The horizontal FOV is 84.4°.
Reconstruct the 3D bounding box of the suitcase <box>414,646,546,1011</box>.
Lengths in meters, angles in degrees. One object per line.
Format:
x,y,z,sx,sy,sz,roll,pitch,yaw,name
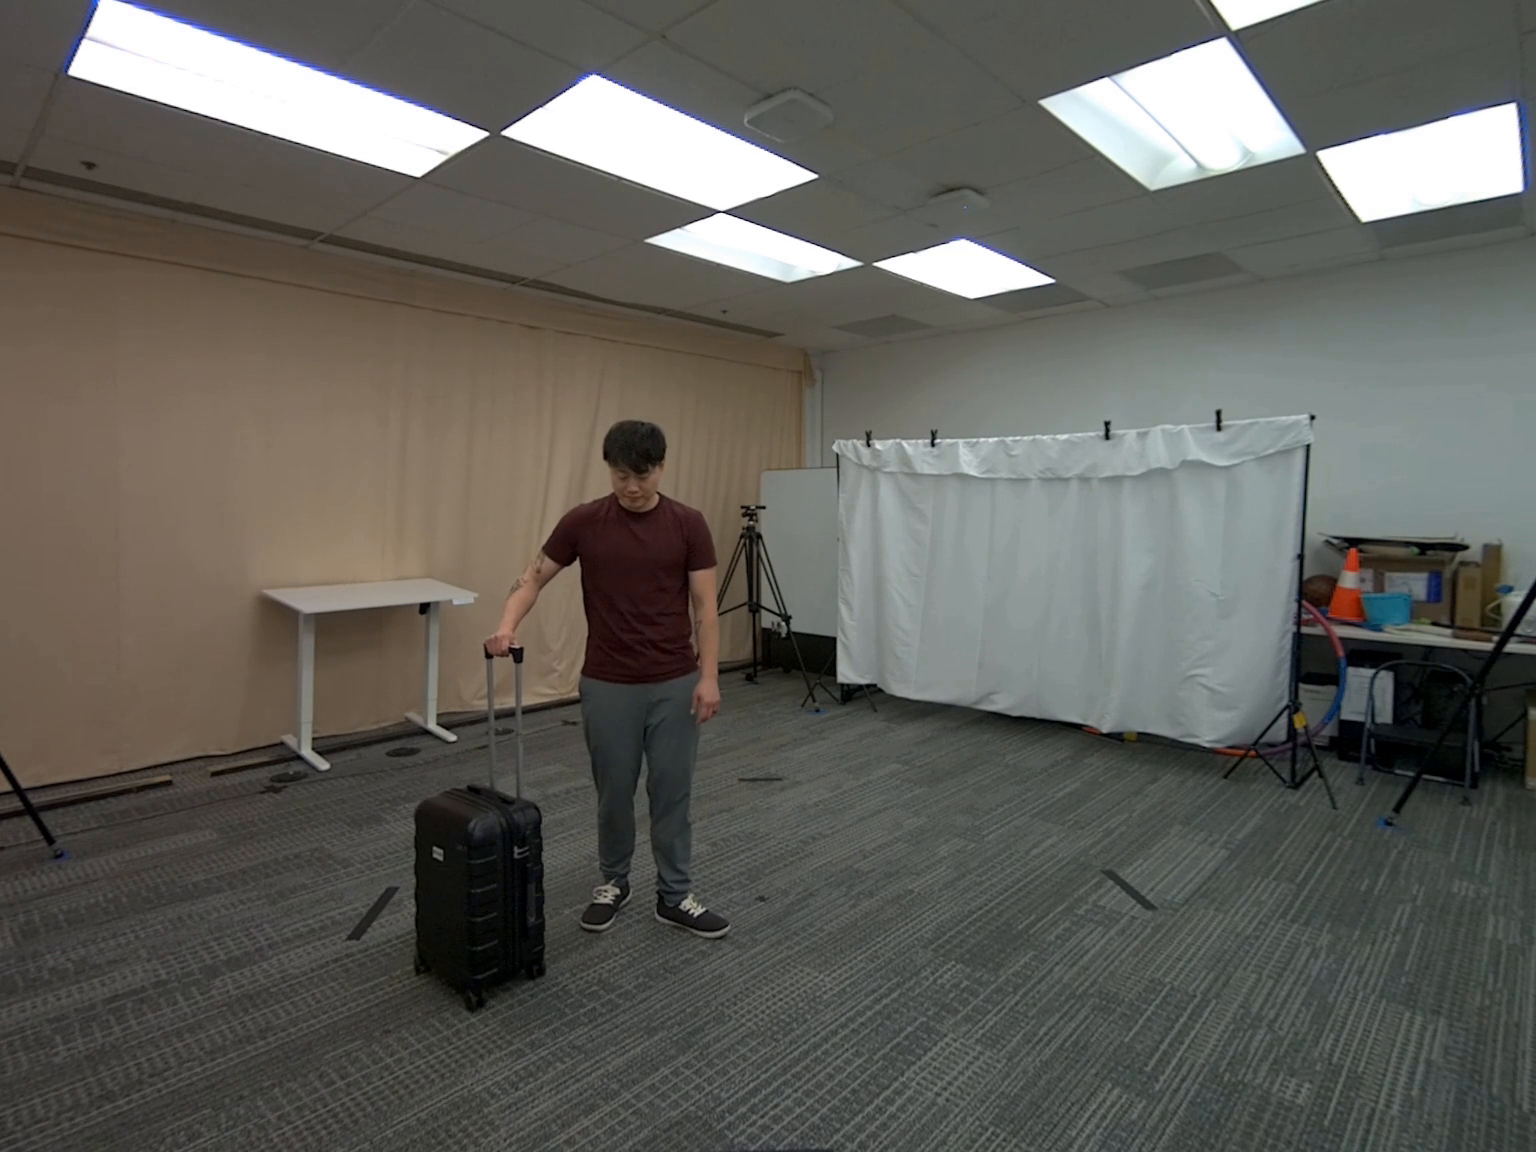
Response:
-0.858,0.715,2.469,0.397,0.976,0.249,3,6,39,suitcase
